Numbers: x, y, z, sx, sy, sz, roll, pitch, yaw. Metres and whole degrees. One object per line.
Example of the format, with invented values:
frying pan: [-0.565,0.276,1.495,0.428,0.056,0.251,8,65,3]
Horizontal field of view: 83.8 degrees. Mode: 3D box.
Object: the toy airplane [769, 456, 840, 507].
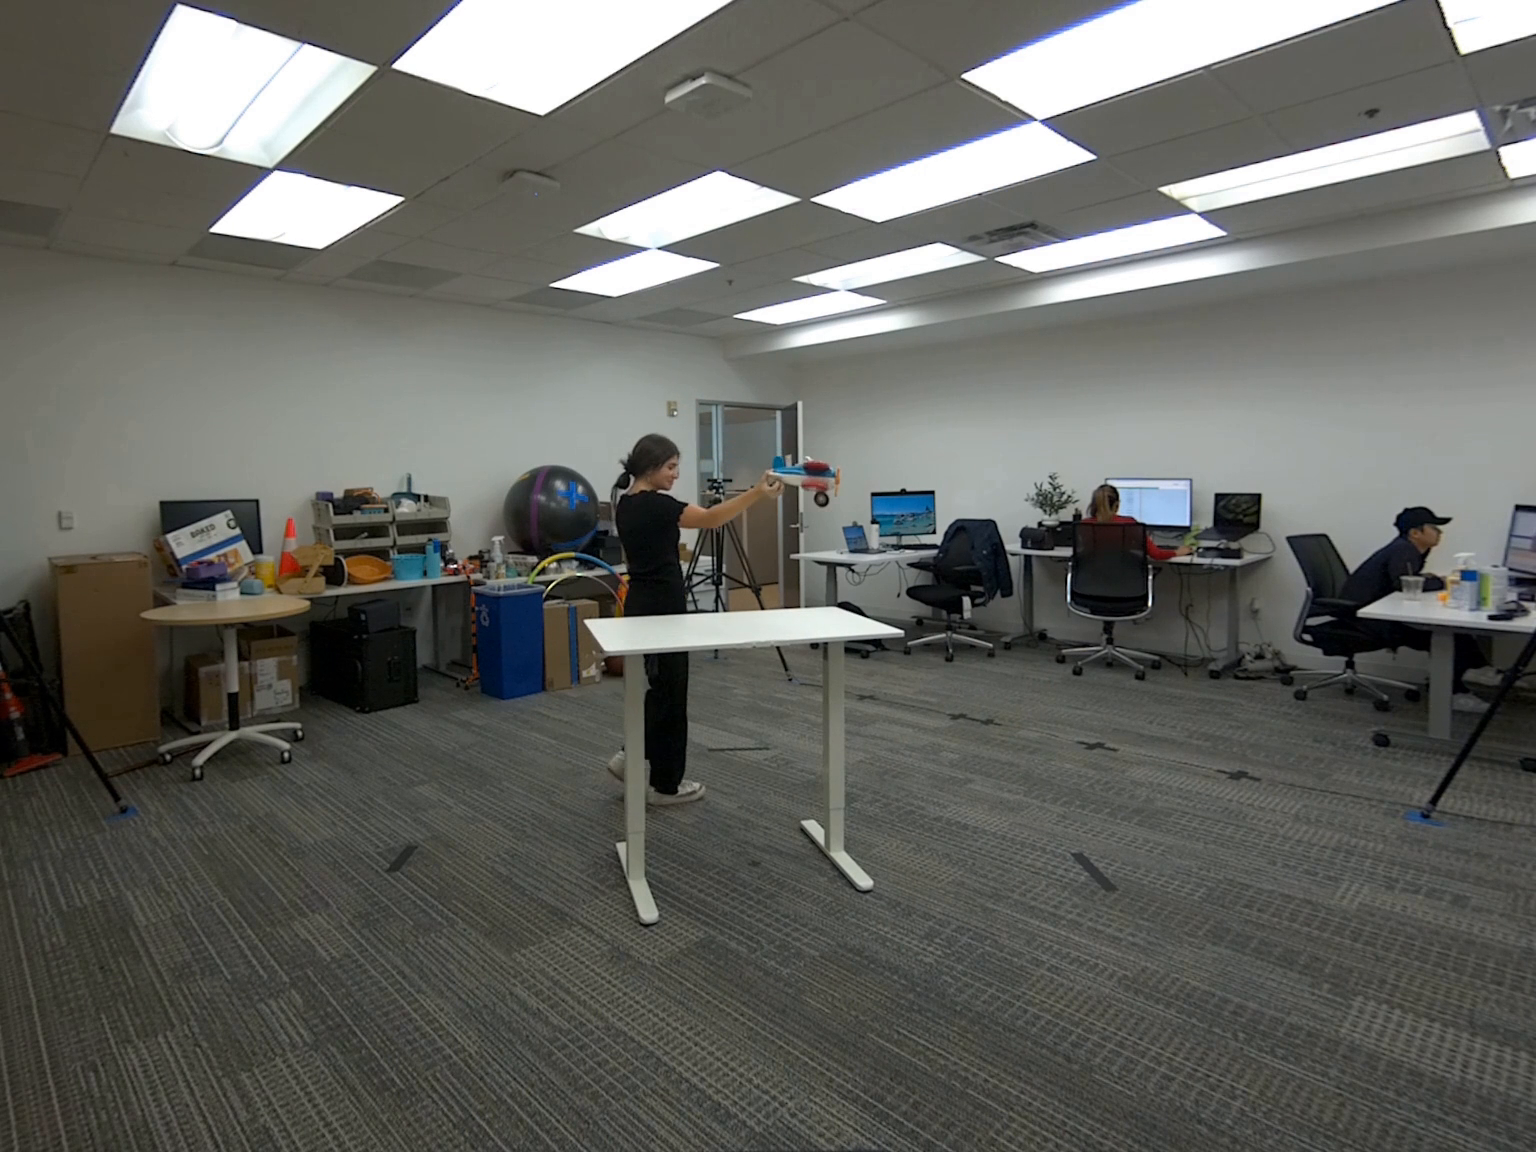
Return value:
toy airplane: [0.126,-0.364,3.164,0.253,0.156,0.257,19,1,-21]
